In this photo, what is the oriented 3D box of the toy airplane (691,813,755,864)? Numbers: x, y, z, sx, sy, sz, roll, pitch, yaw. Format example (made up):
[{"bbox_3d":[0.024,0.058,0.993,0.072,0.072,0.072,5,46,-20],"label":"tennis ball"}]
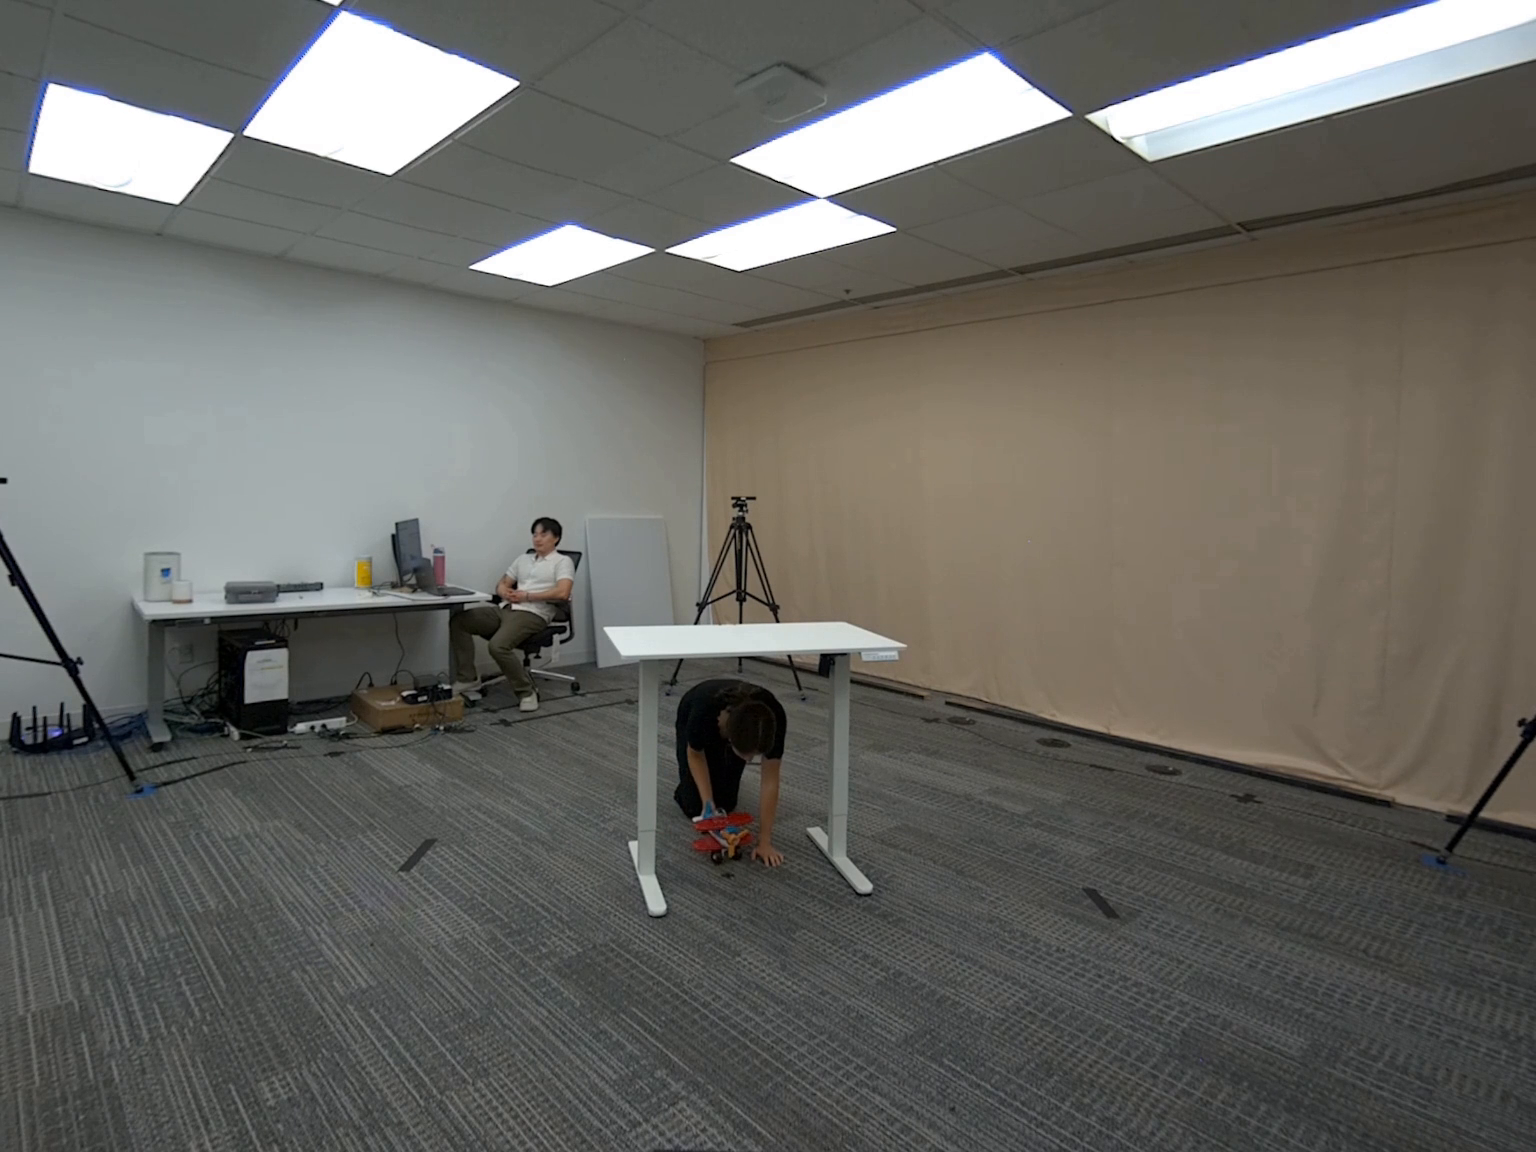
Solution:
[{"bbox_3d":[-0.227,0.998,3.277,0.266,0.155,0.247,20,20,30],"label":"toy airplane"}]
